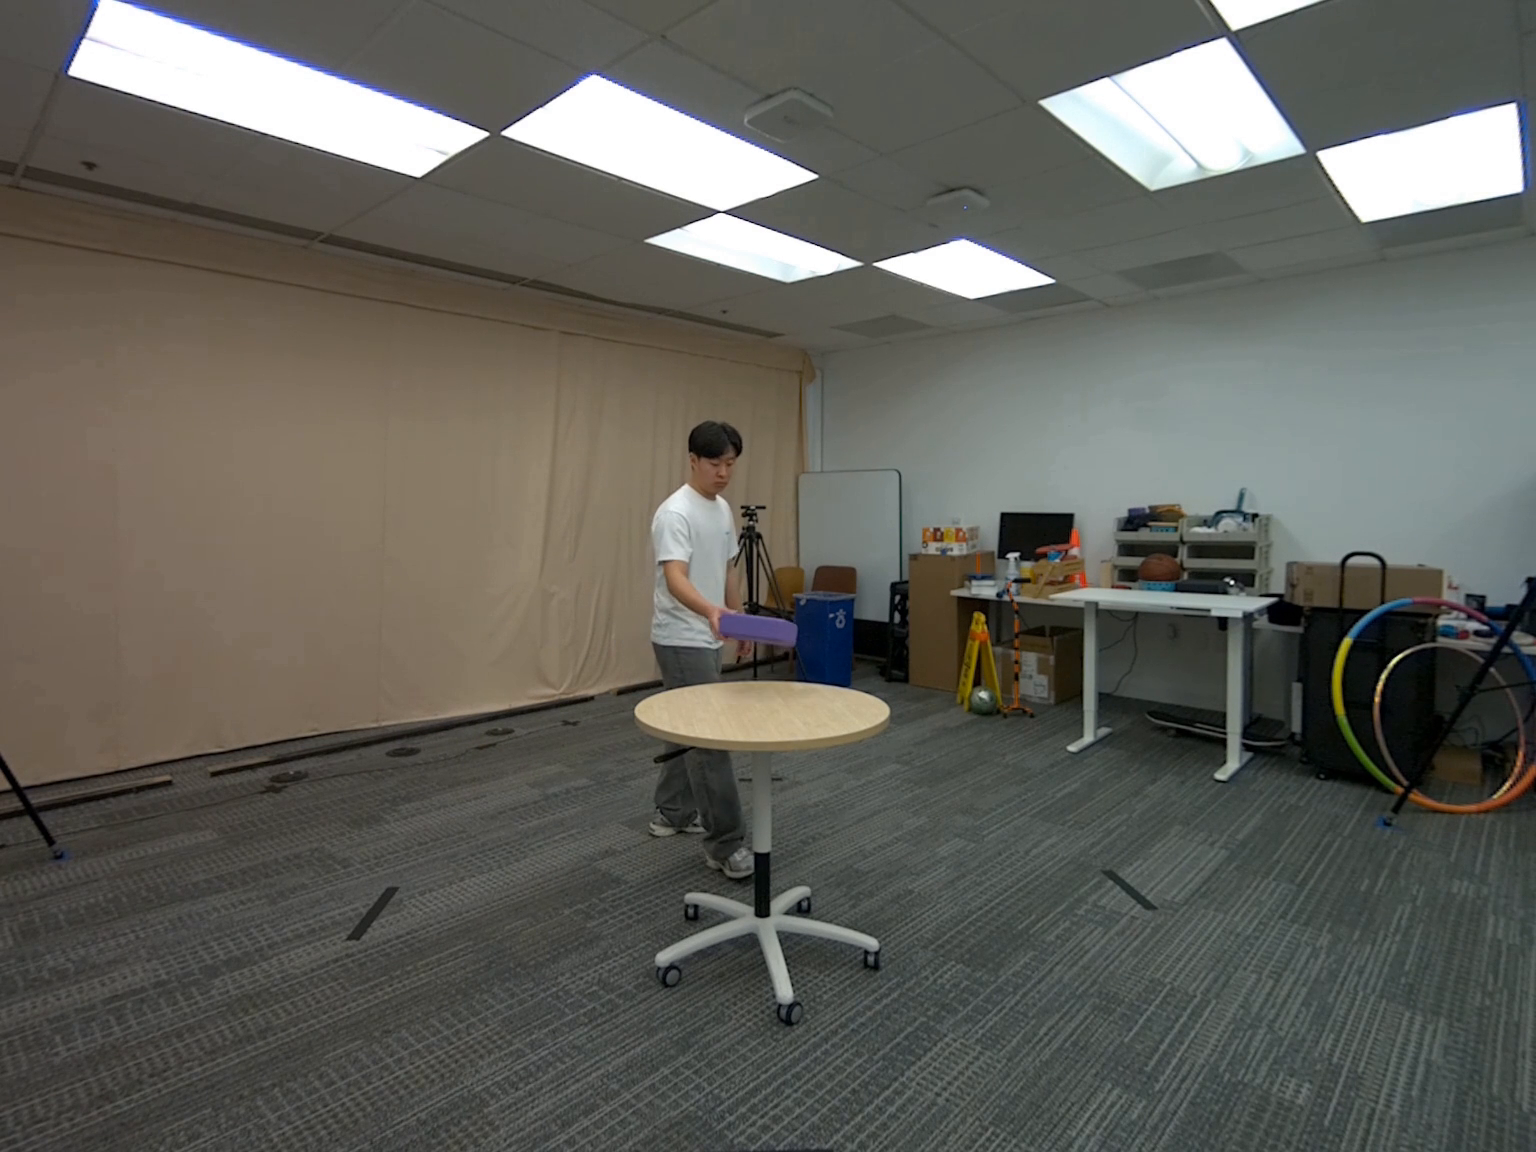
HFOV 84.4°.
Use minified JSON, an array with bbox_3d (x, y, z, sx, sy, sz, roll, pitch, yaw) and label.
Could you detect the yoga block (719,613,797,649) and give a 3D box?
[{"bbox_3d":[-0.018,0.208,2.823,0.234,0.077,0.145,5,-6,18],"label":"yoga block"}]
